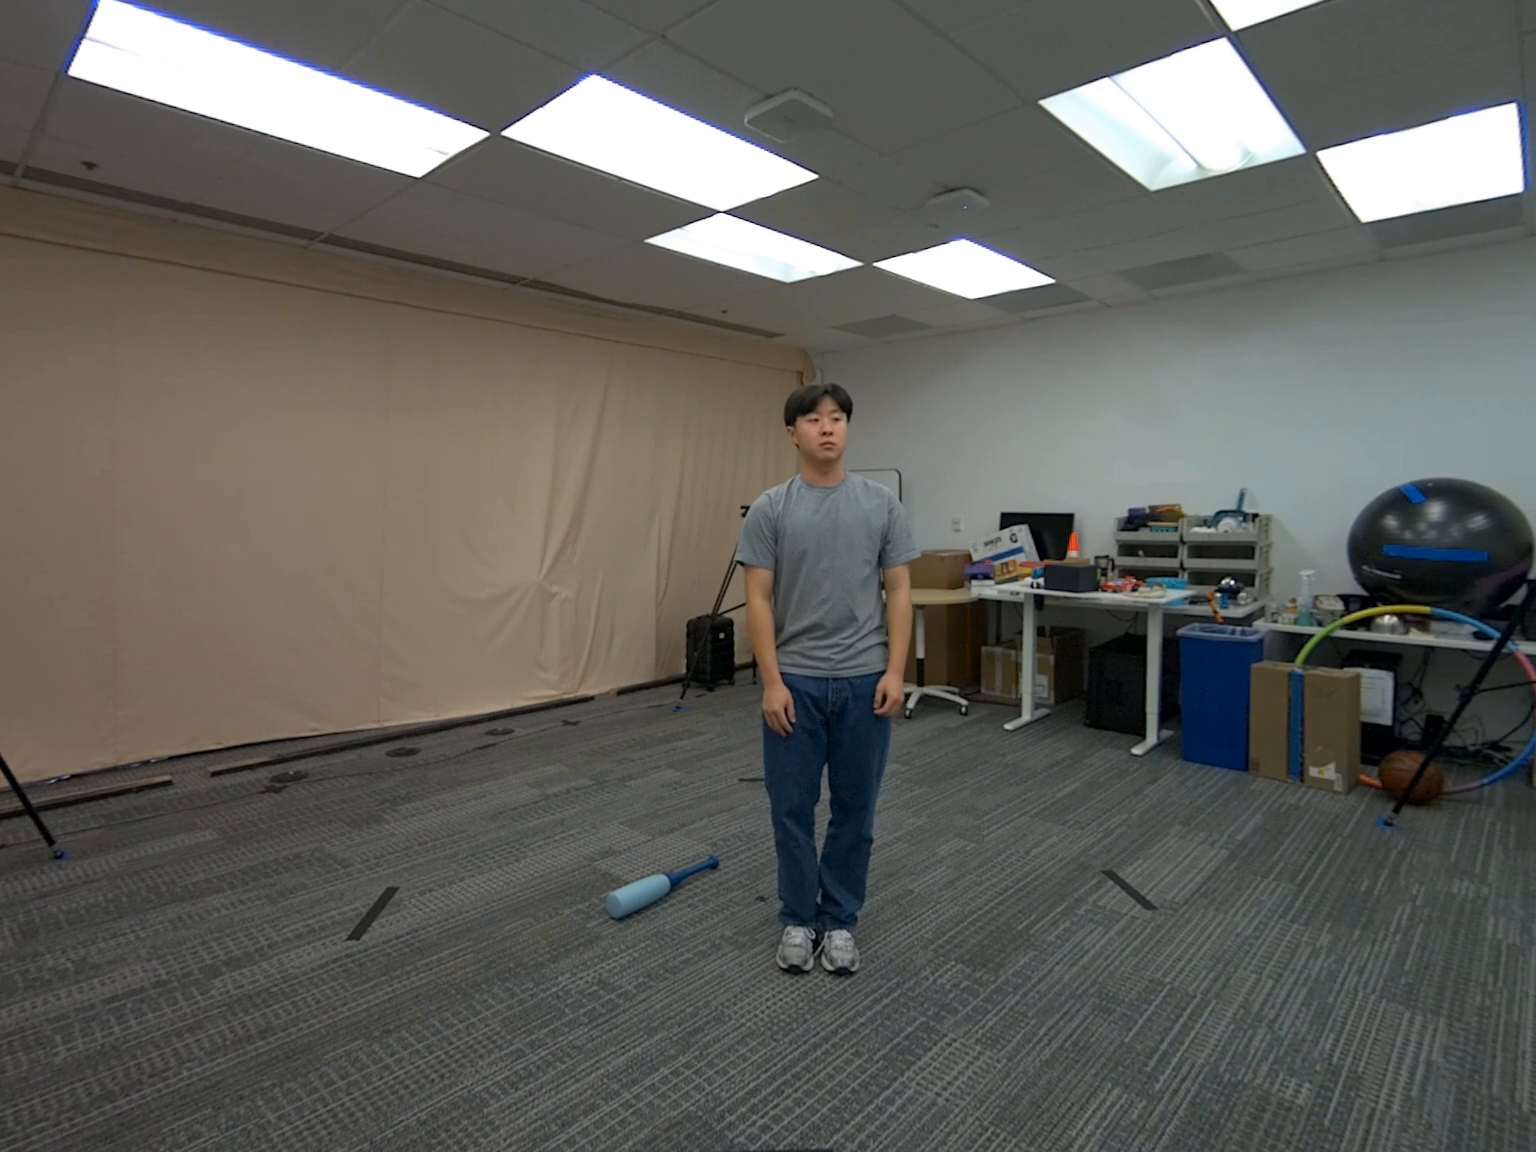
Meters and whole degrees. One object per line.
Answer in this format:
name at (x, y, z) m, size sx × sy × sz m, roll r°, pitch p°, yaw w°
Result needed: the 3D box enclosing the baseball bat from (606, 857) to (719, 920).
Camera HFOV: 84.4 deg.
baseball bat at (-0.363, 1.106, 3.031) m, size 0.092 × 0.089 × 0.526 m, roll 3°, pitch 3°, yaw 38°
